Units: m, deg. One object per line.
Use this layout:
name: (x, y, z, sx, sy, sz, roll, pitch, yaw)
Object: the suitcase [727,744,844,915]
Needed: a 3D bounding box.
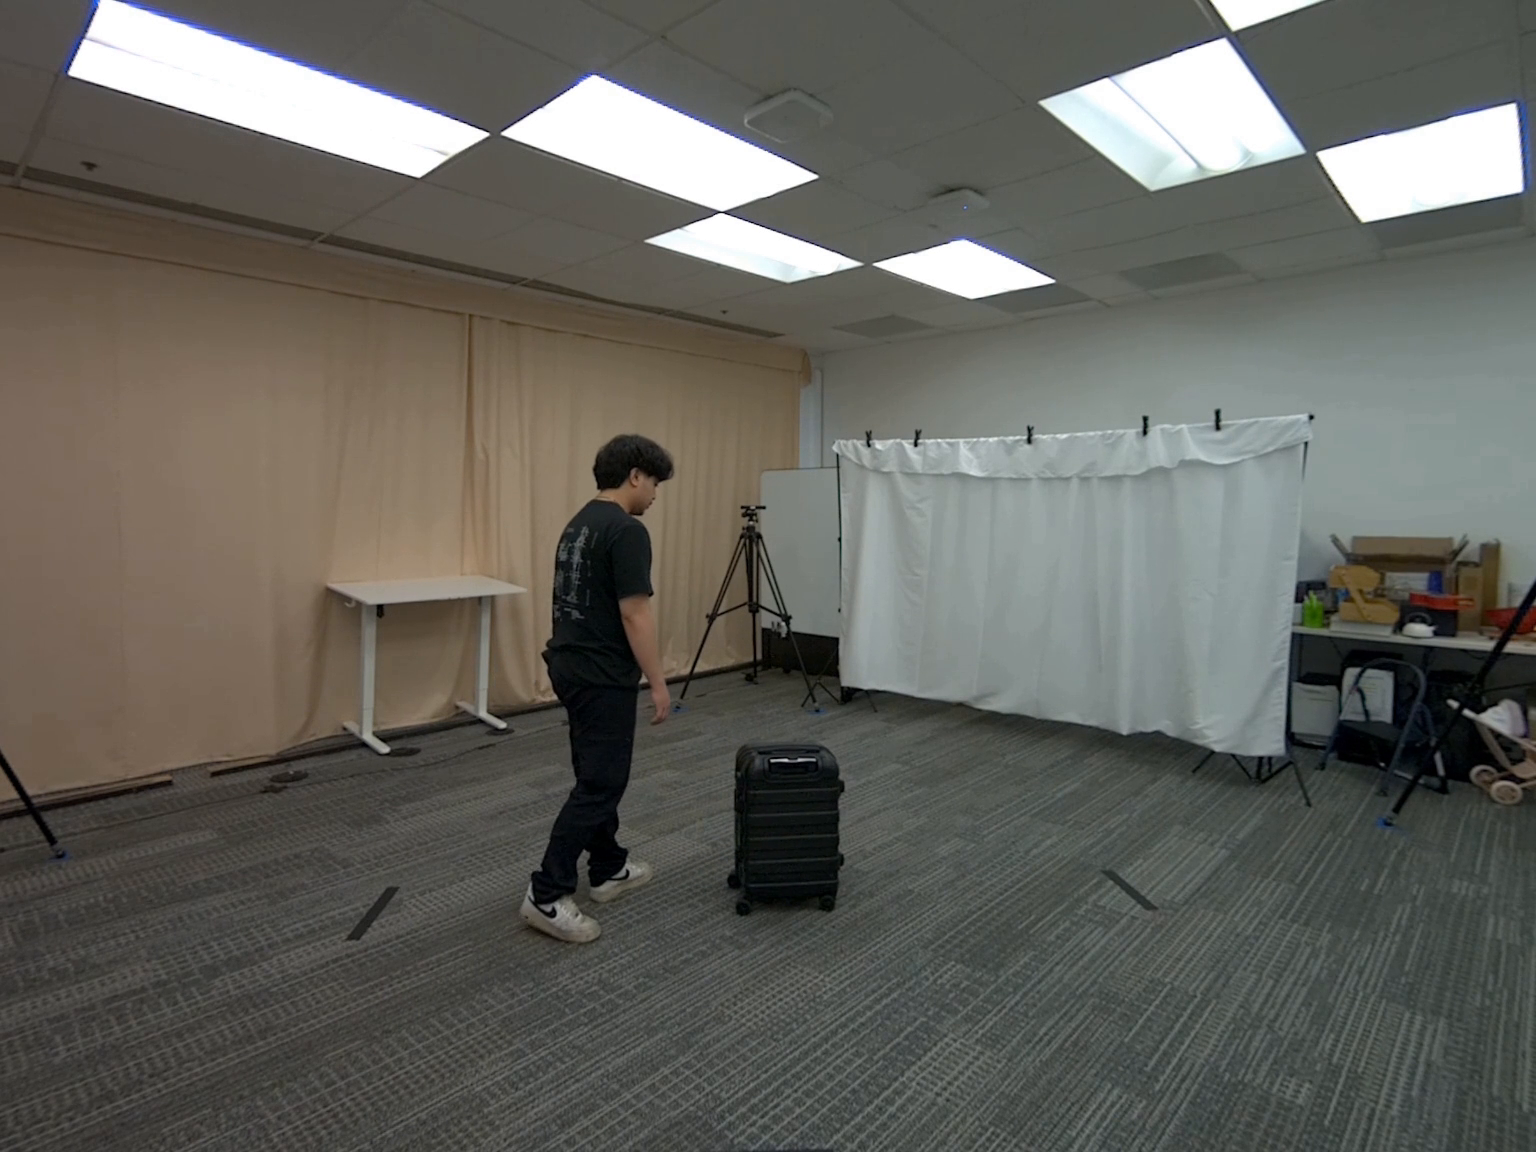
suitcase: (0.067, 0.869, 2.971, 0.372, 0.548, 0.251, 0, 4, -9)
